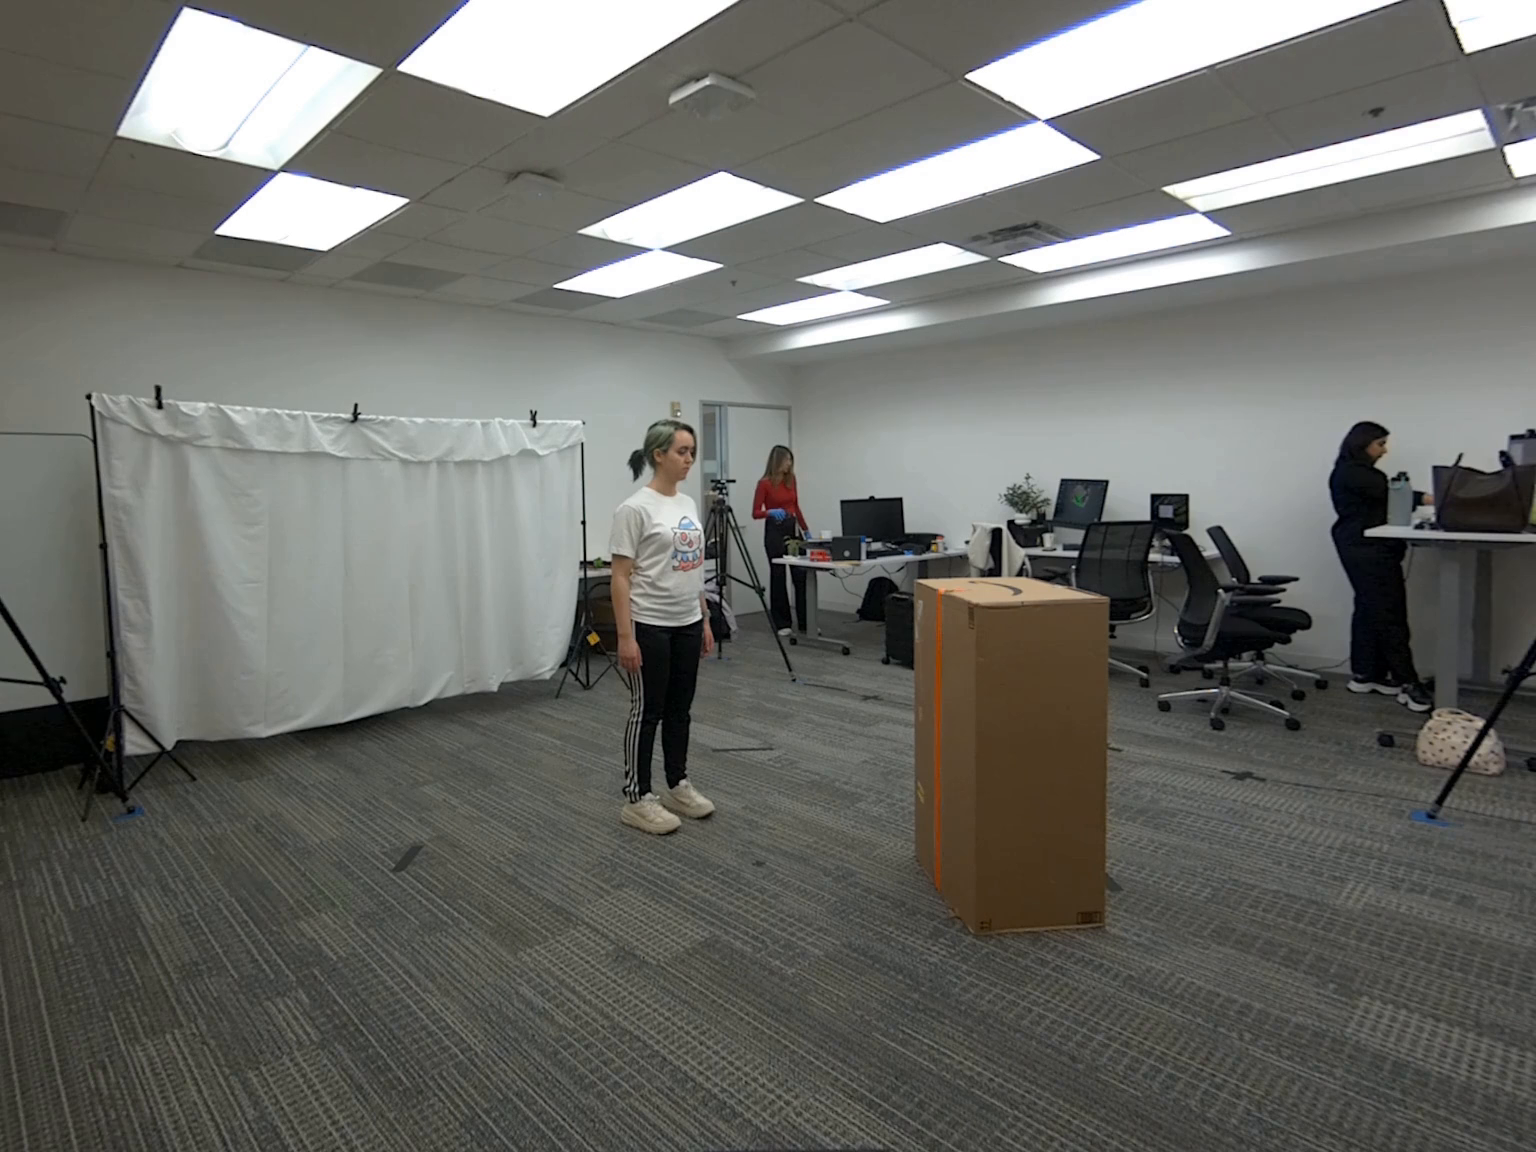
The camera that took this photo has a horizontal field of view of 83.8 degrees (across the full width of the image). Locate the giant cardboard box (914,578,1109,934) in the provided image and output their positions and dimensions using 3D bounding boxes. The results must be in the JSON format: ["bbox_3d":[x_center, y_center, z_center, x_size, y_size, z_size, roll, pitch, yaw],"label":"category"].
[{"bbox_3d":[0.786,0.553,2.857,0.444,1.023,0.590,-1,4,-8],"label":"giant cardboard box"}]
